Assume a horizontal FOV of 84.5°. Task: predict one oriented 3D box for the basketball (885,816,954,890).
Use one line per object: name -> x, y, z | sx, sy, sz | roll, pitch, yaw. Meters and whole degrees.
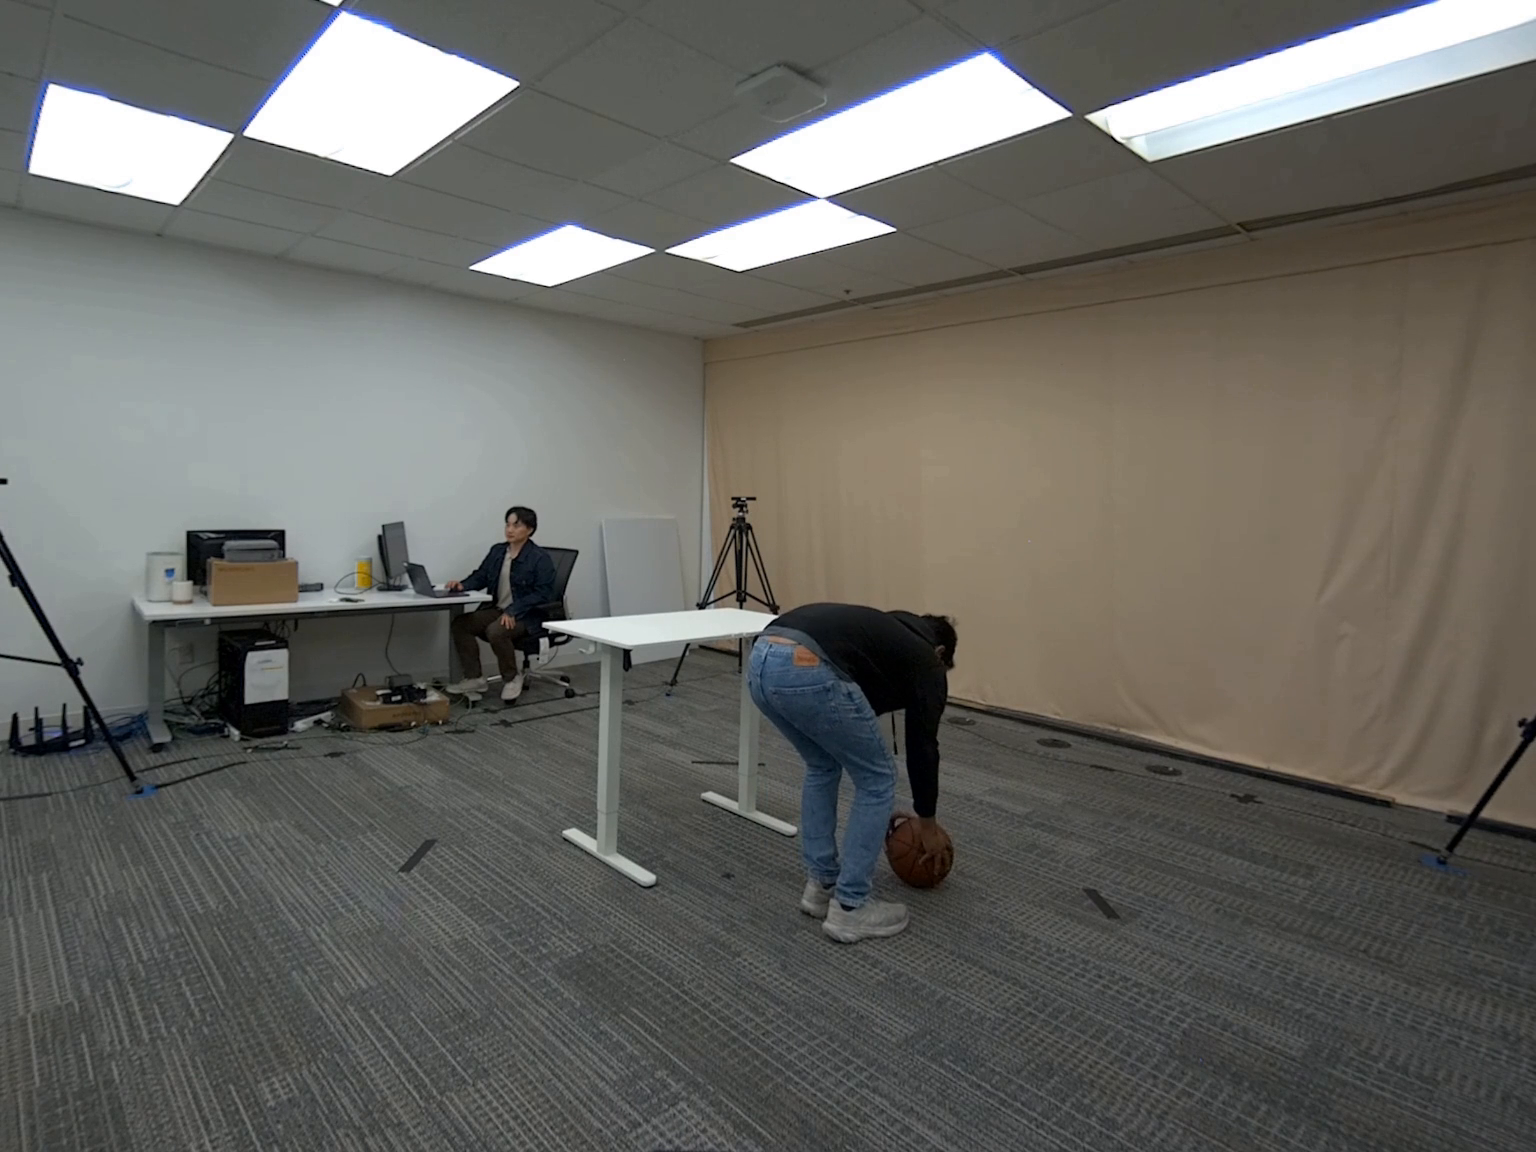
basketball -> 0.553, 0.984, 3.063 | 0.236, 0.235, 0.237 | 1, 4, -1
